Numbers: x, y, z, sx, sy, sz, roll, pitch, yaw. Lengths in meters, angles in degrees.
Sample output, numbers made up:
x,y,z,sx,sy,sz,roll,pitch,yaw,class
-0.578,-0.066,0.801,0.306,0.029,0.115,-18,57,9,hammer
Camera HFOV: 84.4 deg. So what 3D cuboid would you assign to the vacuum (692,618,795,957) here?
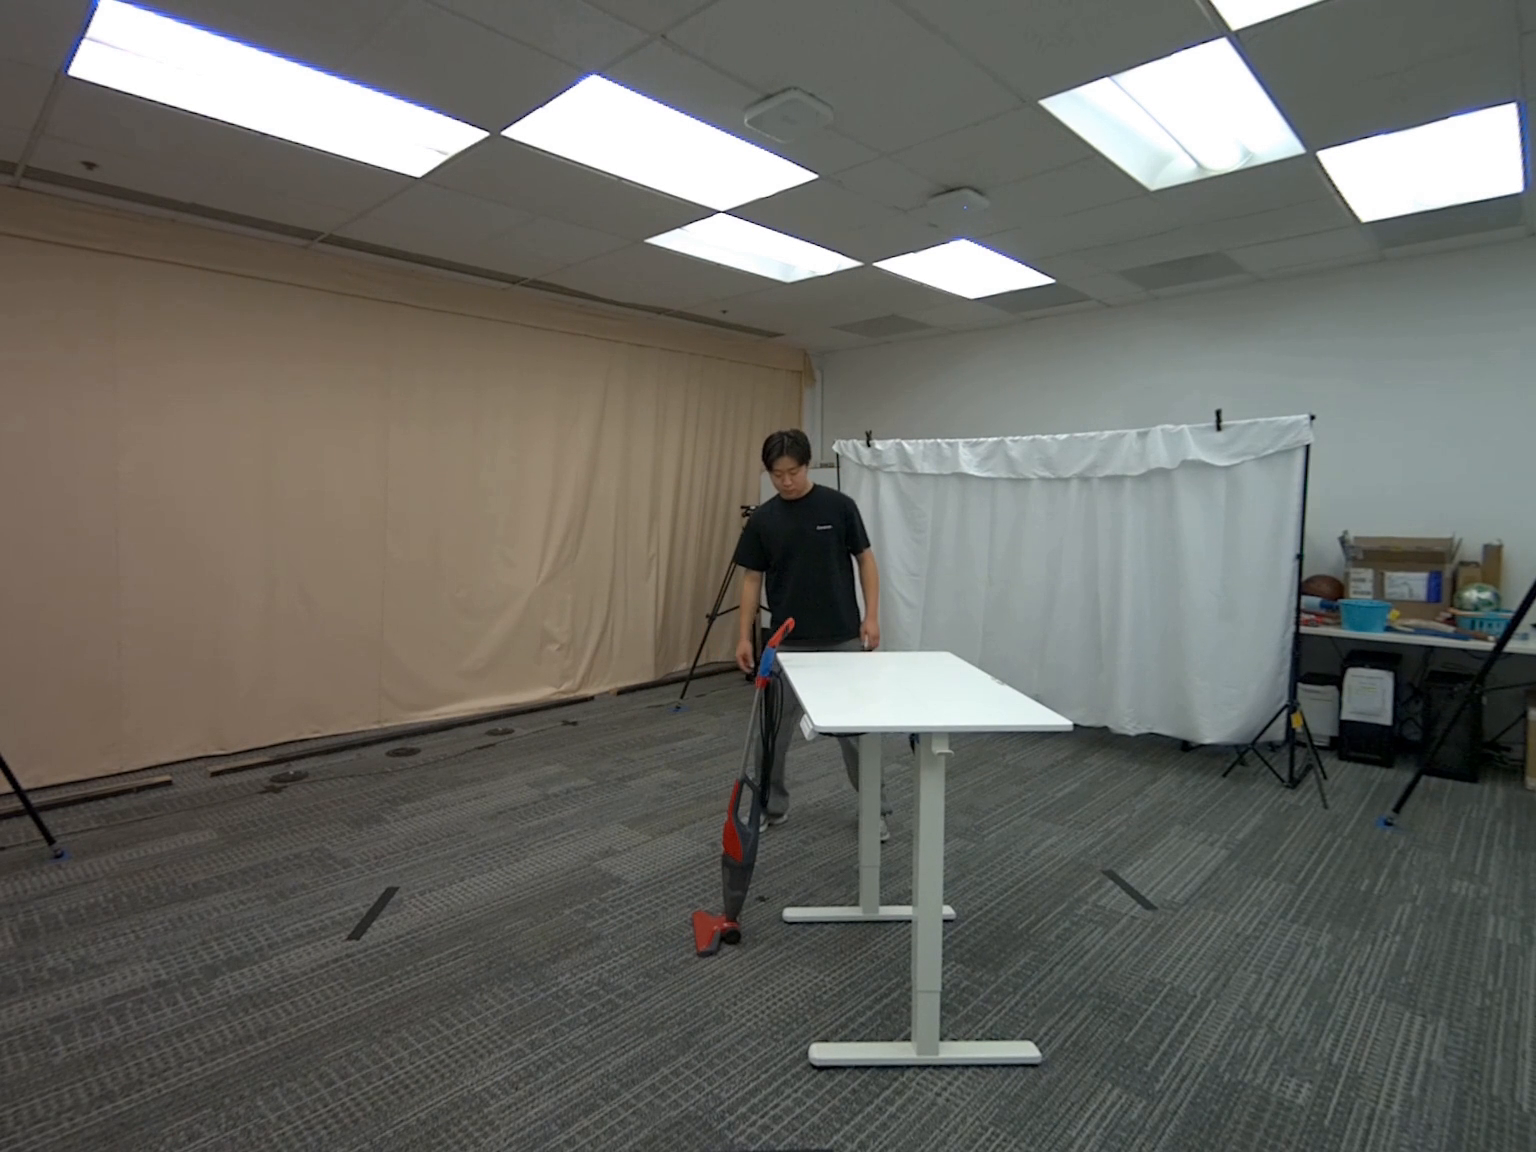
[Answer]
x,y,z,sx,sy,sz,roll,pitch,yaw,class
-0.049,0.660,2.707,0.142,1.048,0.256,13,2,-11,vacuum
